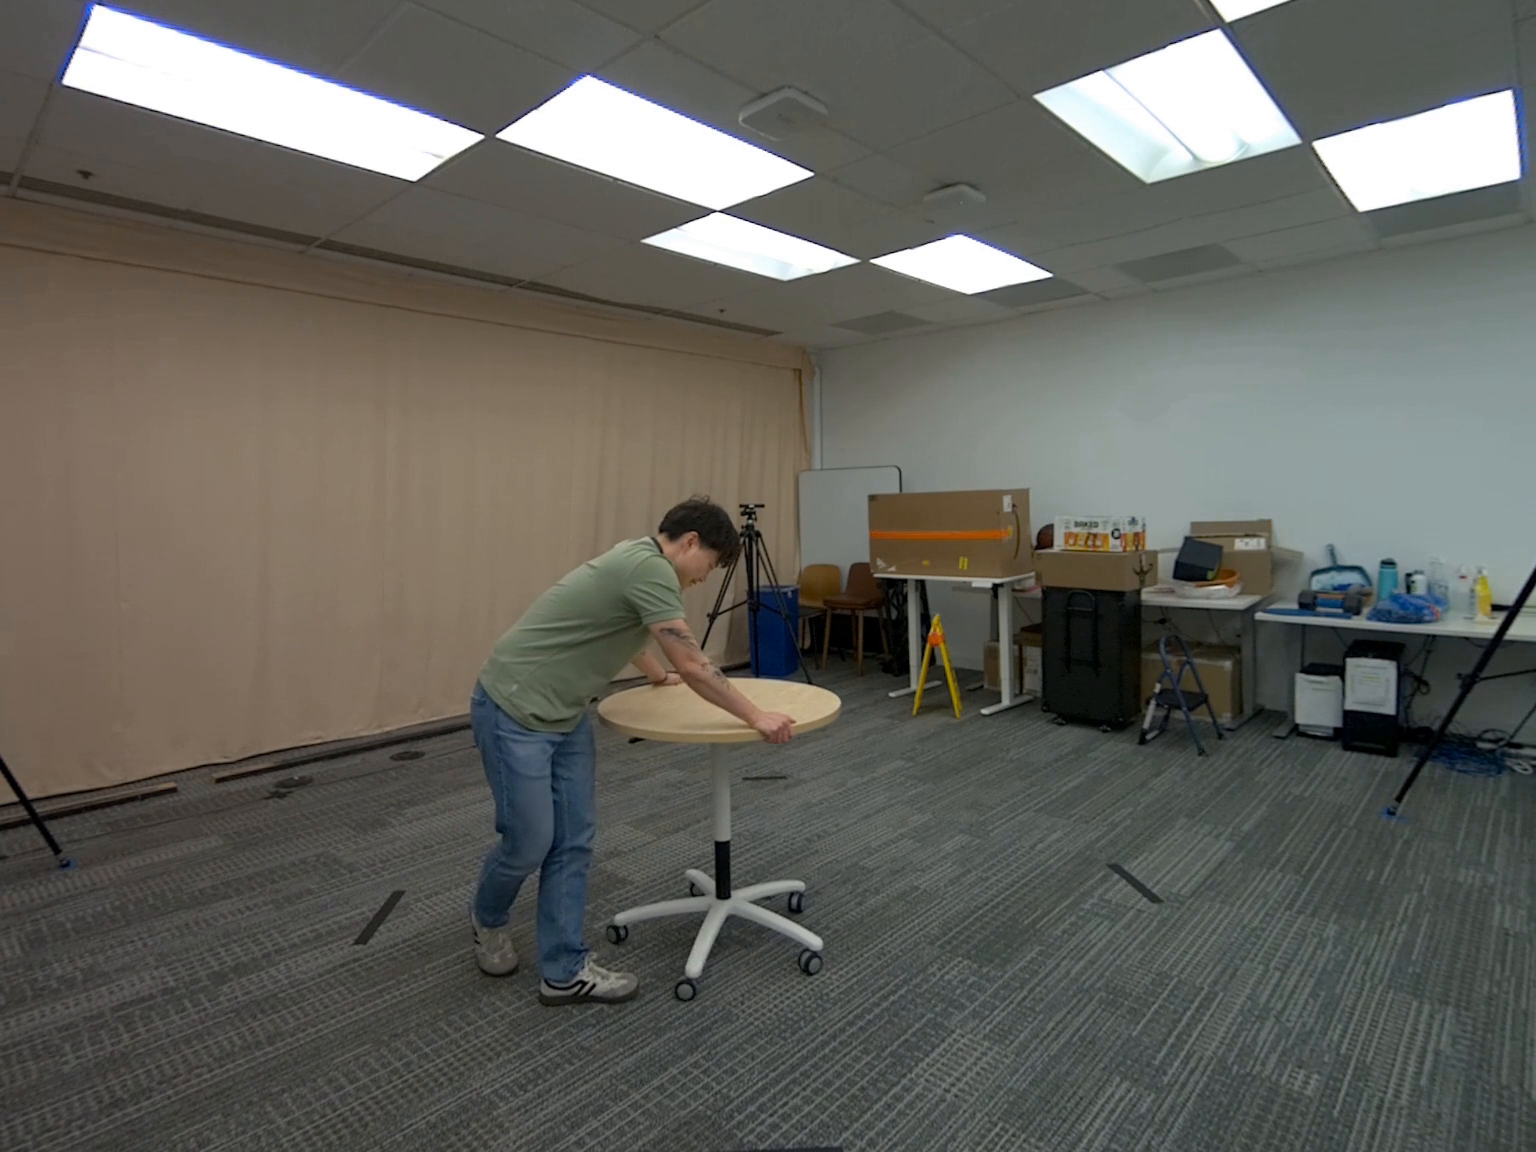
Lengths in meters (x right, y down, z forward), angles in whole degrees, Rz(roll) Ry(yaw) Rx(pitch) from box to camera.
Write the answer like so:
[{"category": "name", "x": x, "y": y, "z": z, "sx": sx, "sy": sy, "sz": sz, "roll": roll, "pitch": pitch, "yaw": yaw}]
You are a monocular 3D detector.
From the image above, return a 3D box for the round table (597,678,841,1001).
[{"category": "round table", "x": -0.142, "y": 0.787, "z": 2.679, "sx": 0.763, "sy": 0.792, "sz": 0.766, "roll": -2, "pitch": 4, "yaw": -2}]
